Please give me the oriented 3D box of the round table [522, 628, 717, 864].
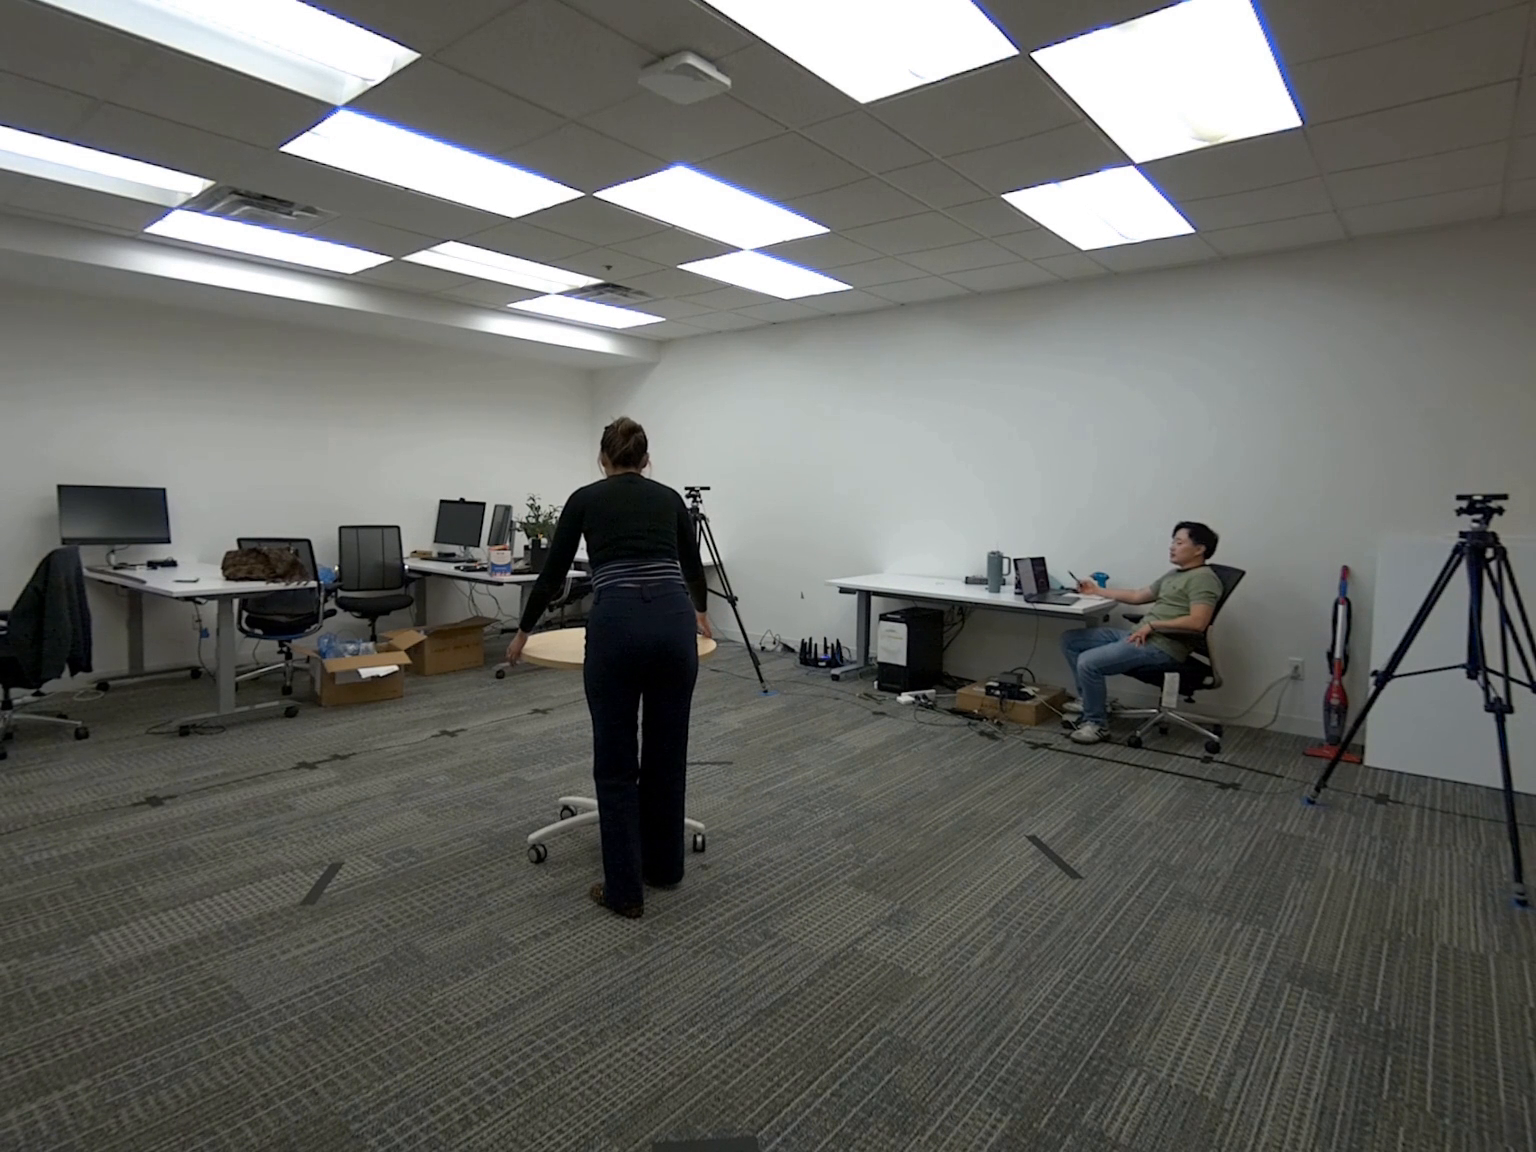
[{"bbox_3d":[-0.601,0.651,3.301,0.763,0.791,0.768,1,4,-2],"label":"round table"}]
